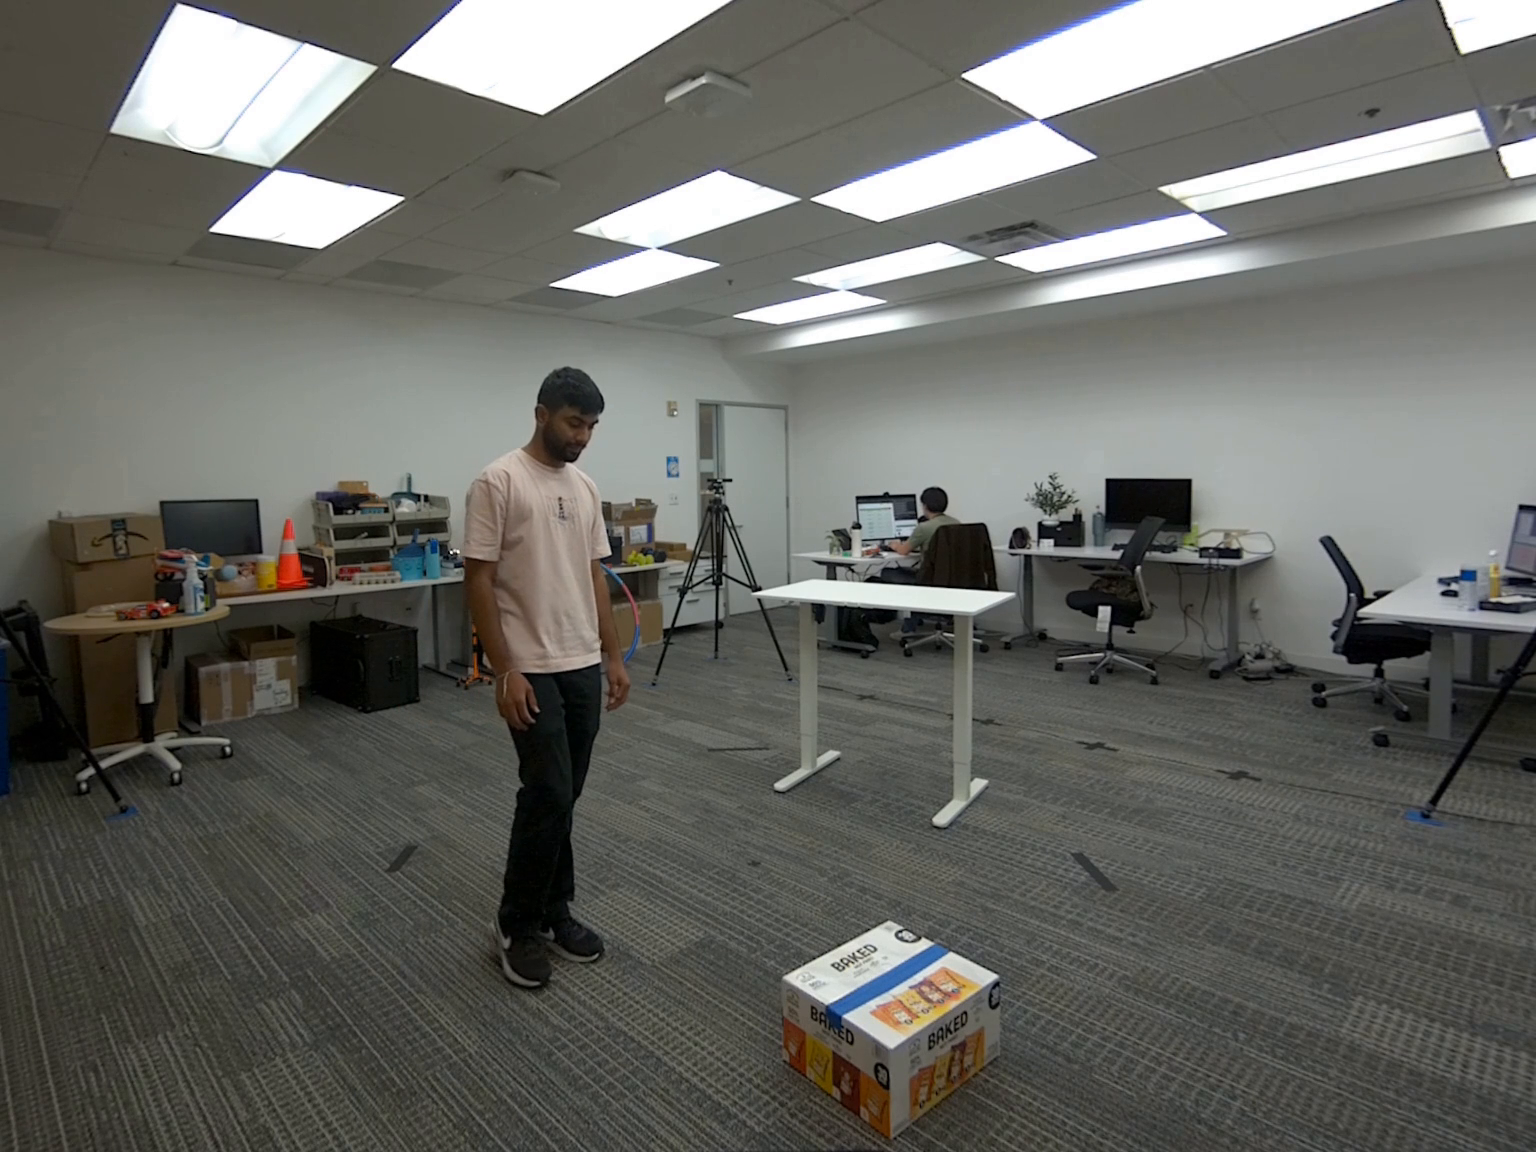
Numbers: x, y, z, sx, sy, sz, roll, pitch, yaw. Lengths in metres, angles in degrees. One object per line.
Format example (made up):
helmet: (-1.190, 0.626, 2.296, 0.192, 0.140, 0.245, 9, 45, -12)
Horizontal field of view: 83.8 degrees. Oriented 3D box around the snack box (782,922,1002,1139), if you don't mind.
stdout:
snack box: (0.302, 1.064, 2.045, 0.395, 0.205, 0.351, -6, 8, -40)
